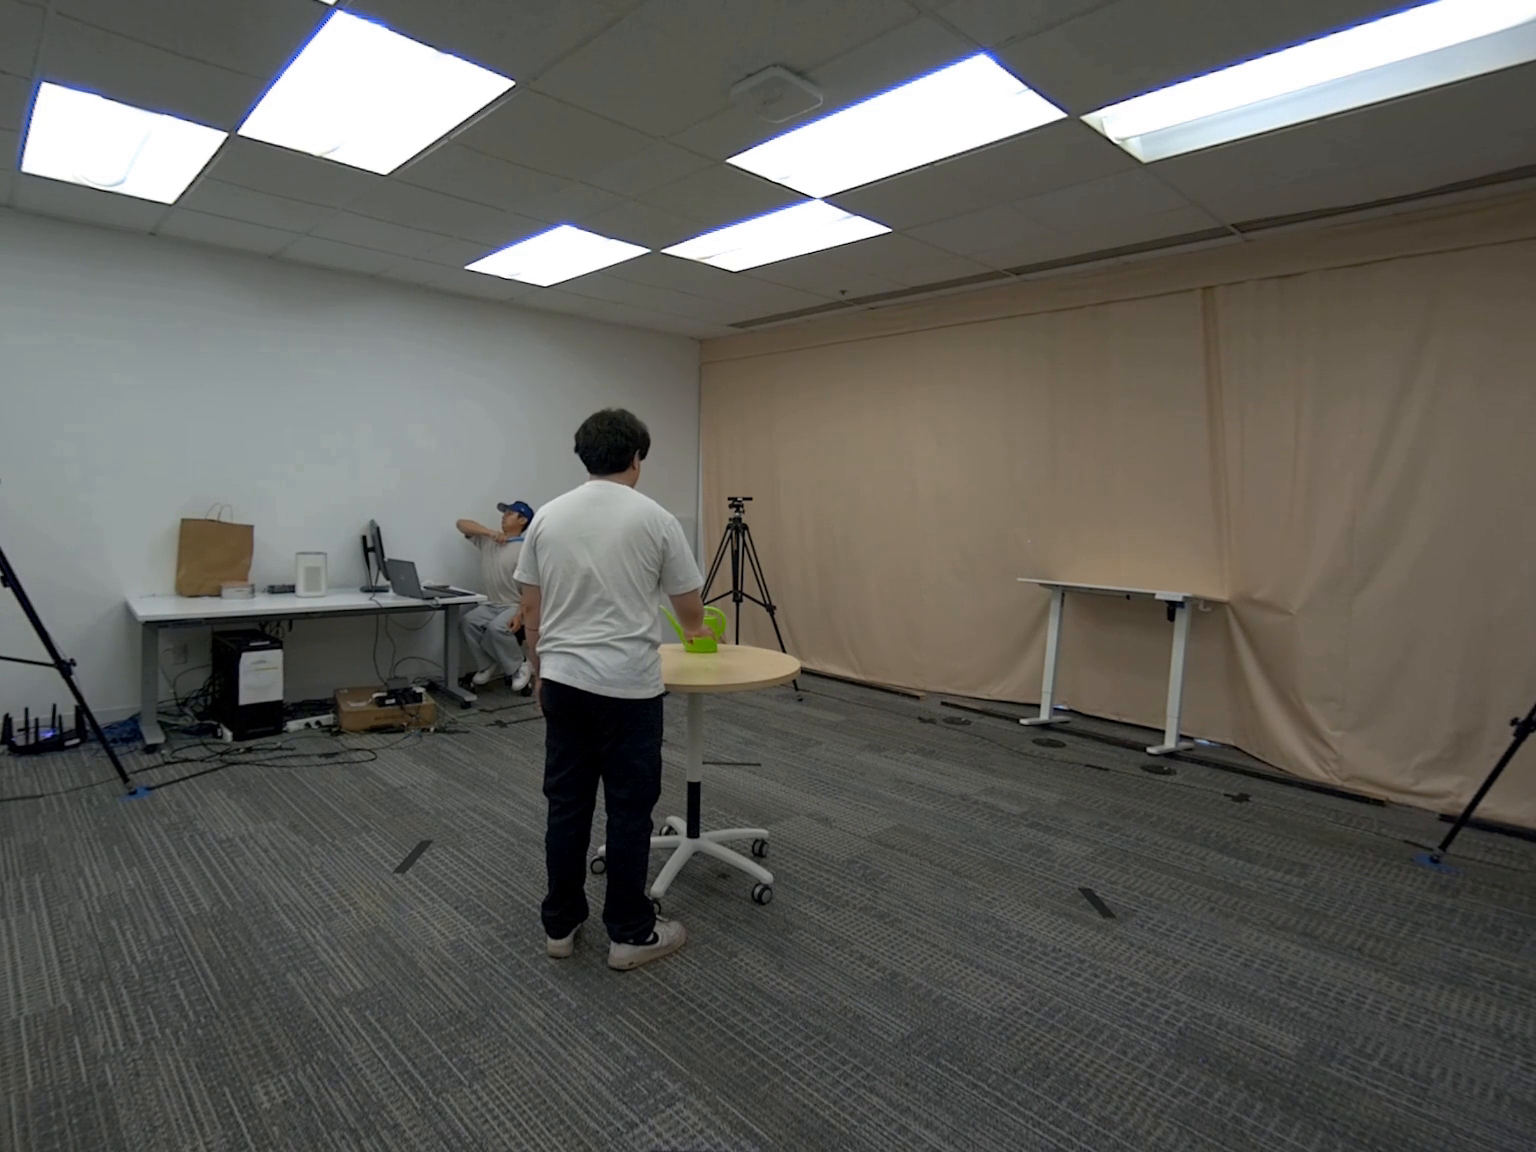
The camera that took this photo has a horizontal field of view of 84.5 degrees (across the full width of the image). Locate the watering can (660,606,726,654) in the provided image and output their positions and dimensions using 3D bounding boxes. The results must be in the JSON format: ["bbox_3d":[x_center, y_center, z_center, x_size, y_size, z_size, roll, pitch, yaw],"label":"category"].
[{"bbox_3d":[-0.315,0.210,3.306,0.284,0.176,0.096,3,3,27],"label":"watering can"}]
